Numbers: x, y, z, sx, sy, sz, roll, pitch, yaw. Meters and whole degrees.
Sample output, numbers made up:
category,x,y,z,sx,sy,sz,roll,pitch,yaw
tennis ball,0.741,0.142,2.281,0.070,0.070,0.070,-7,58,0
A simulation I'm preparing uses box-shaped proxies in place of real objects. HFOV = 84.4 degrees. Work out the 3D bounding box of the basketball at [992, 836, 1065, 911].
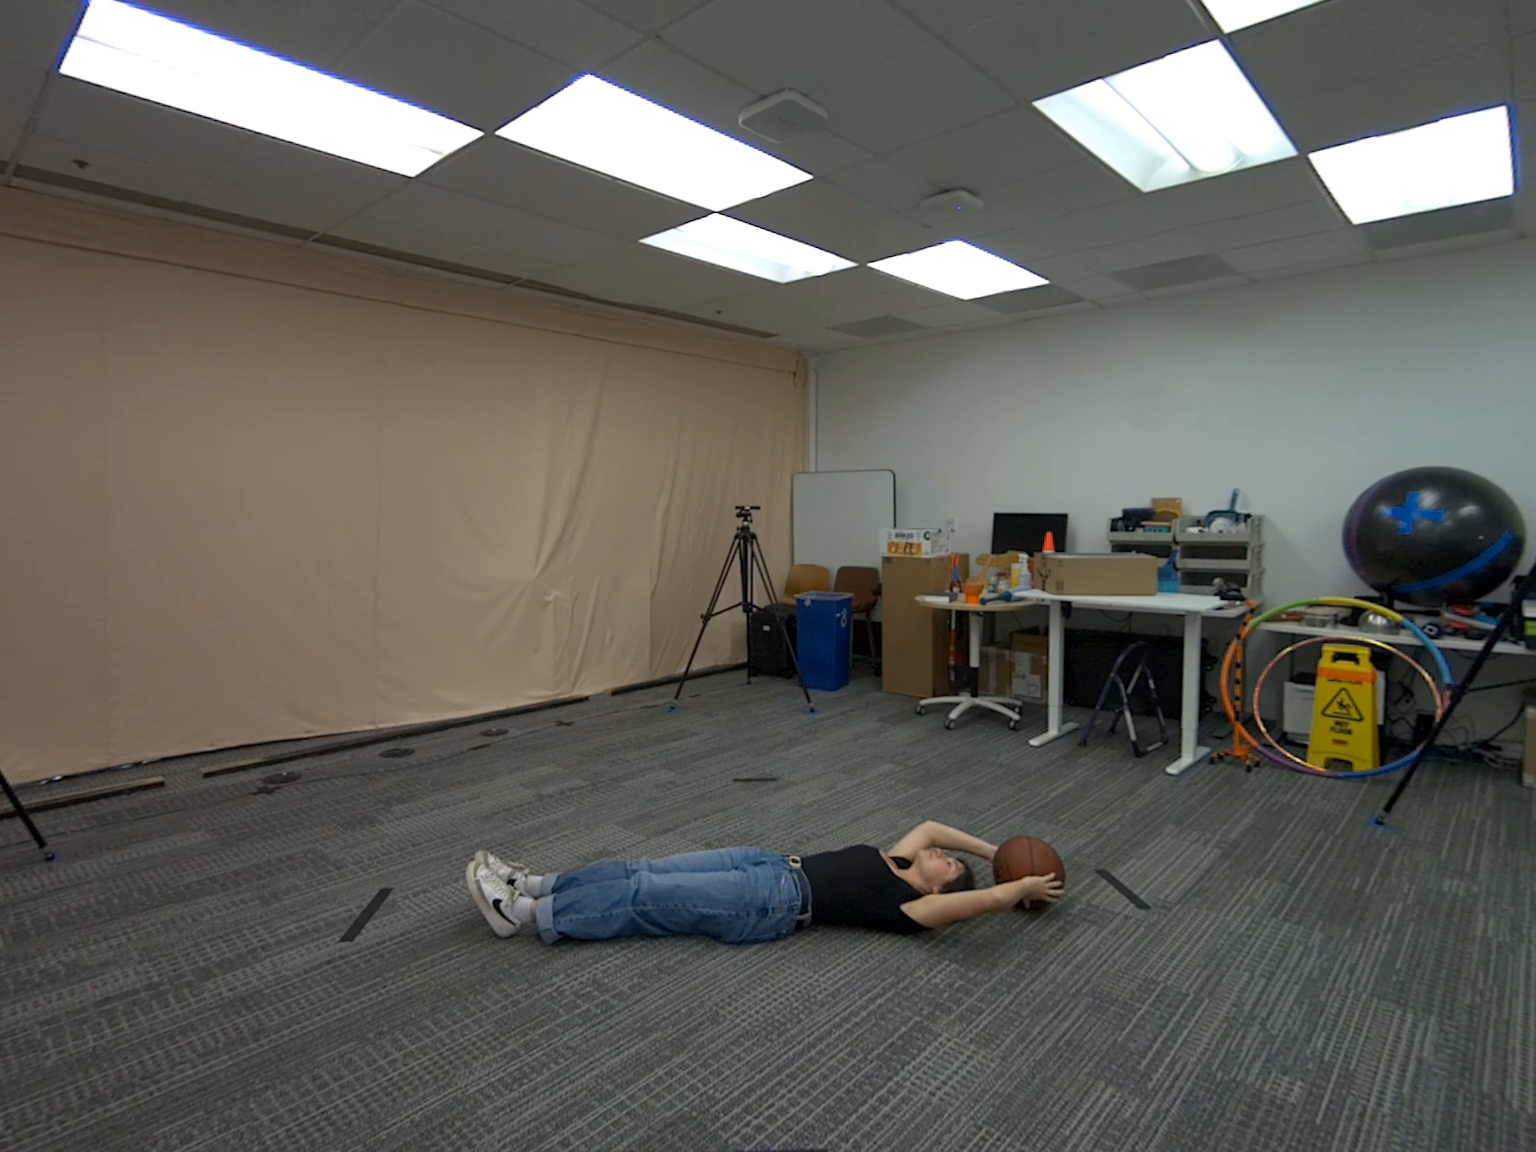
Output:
category,x,y,z,sx,sy,sz,roll,pitch,yaw
basketball,0.911,1.024,2.930,0.236,0.235,0.237,0,4,-2
